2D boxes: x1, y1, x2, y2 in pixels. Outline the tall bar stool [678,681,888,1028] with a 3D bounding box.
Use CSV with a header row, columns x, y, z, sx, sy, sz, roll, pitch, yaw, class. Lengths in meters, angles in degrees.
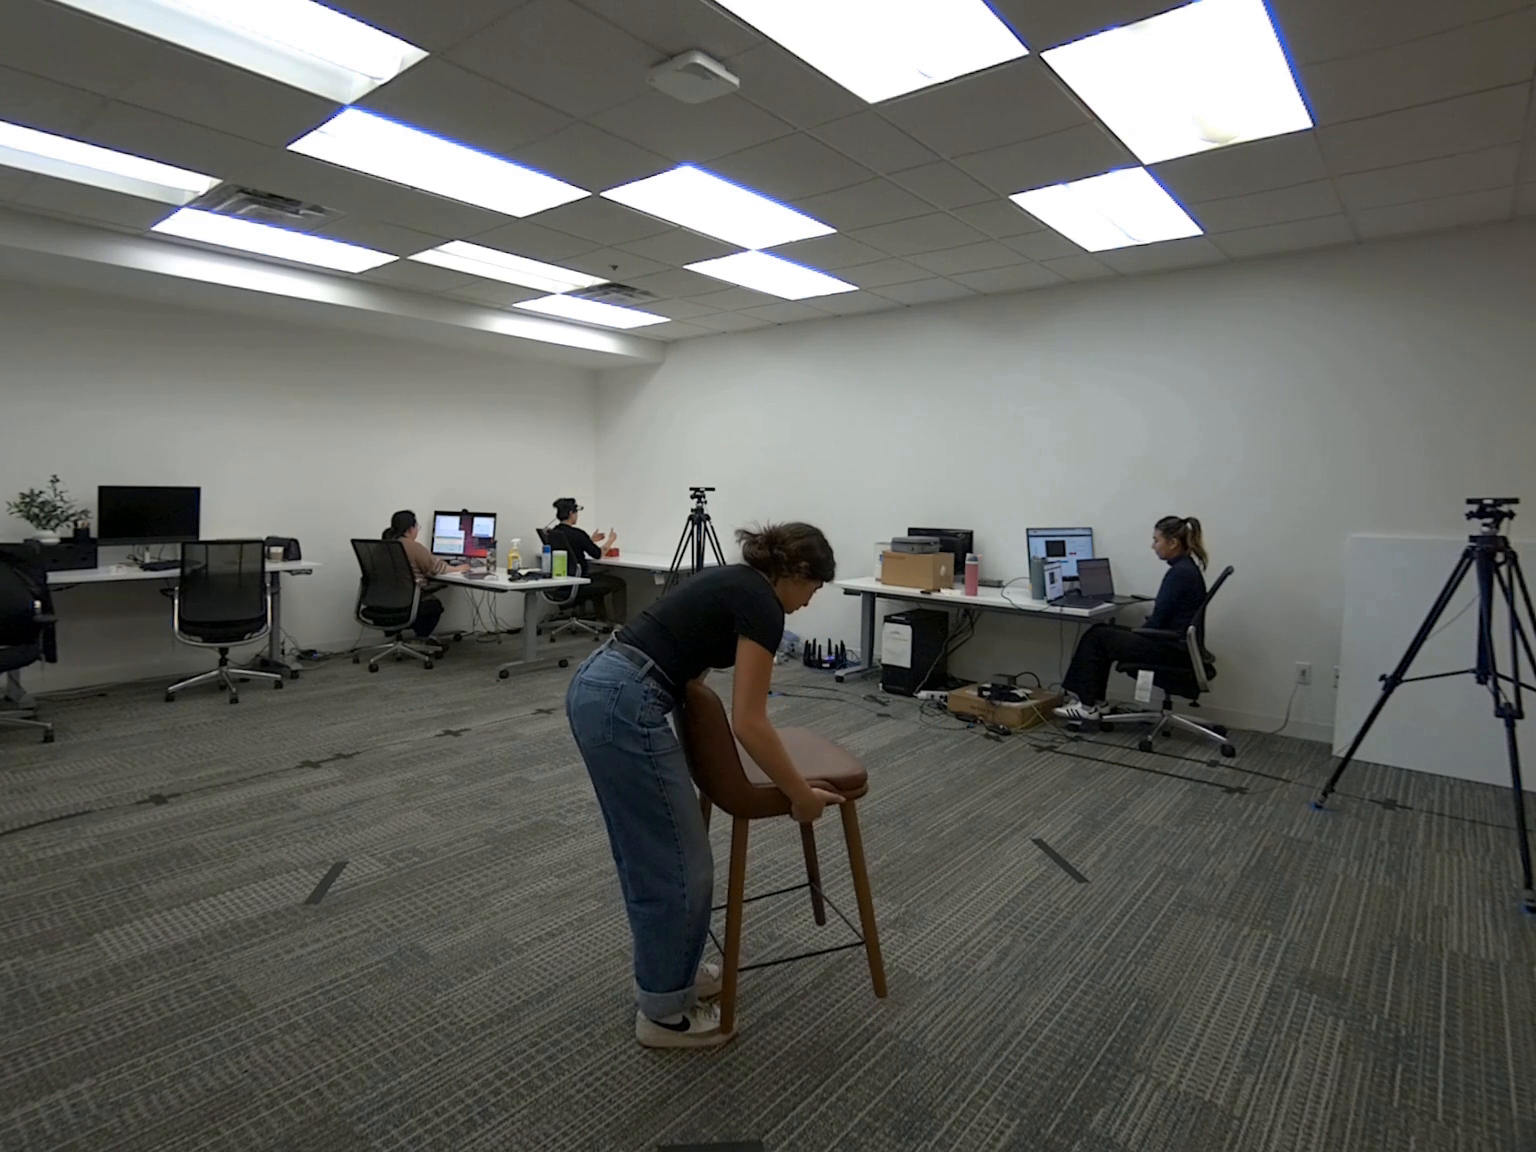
x,y,z,sx,sy,sz,roll,pitch,yaw,class
0.007,0.657,2.297,0.460,0.885,0.466,-6,5,-18,tall bar stool
